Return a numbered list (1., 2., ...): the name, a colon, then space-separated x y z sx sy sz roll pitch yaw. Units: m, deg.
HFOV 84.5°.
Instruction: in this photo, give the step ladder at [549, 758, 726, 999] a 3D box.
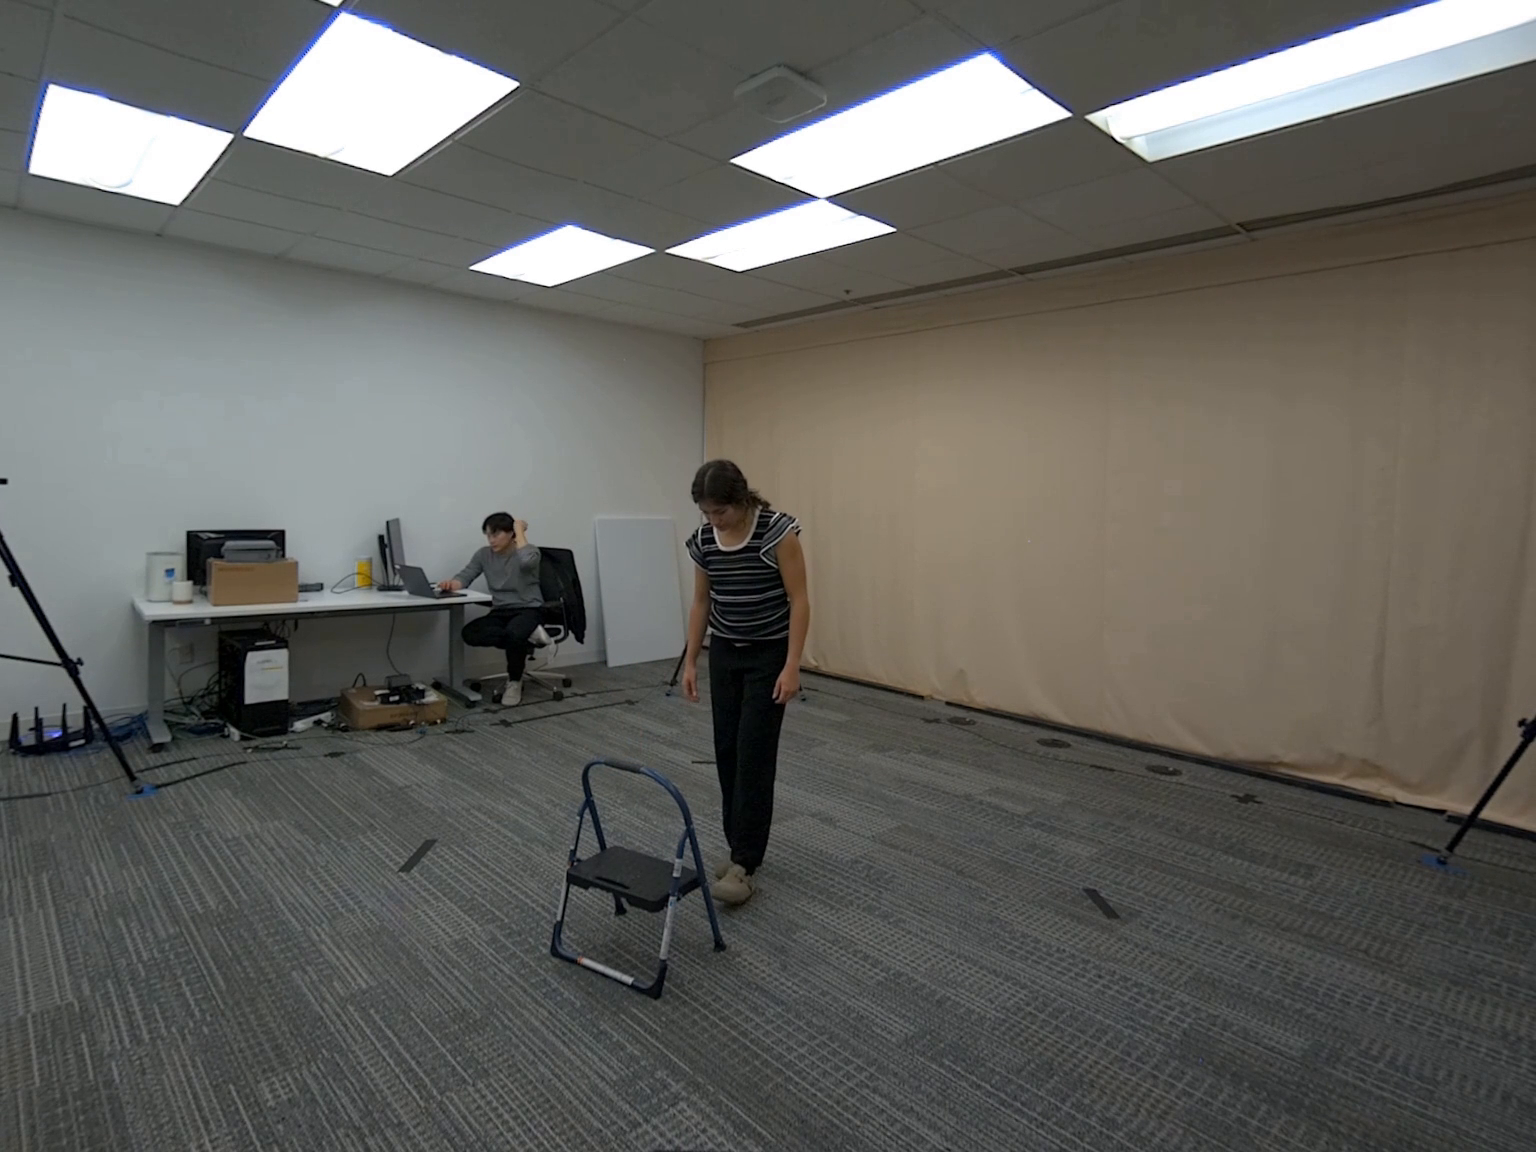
1. step ladder: -0.399 0.850 2.560 0.440 0.605 0.342 3 3 31
